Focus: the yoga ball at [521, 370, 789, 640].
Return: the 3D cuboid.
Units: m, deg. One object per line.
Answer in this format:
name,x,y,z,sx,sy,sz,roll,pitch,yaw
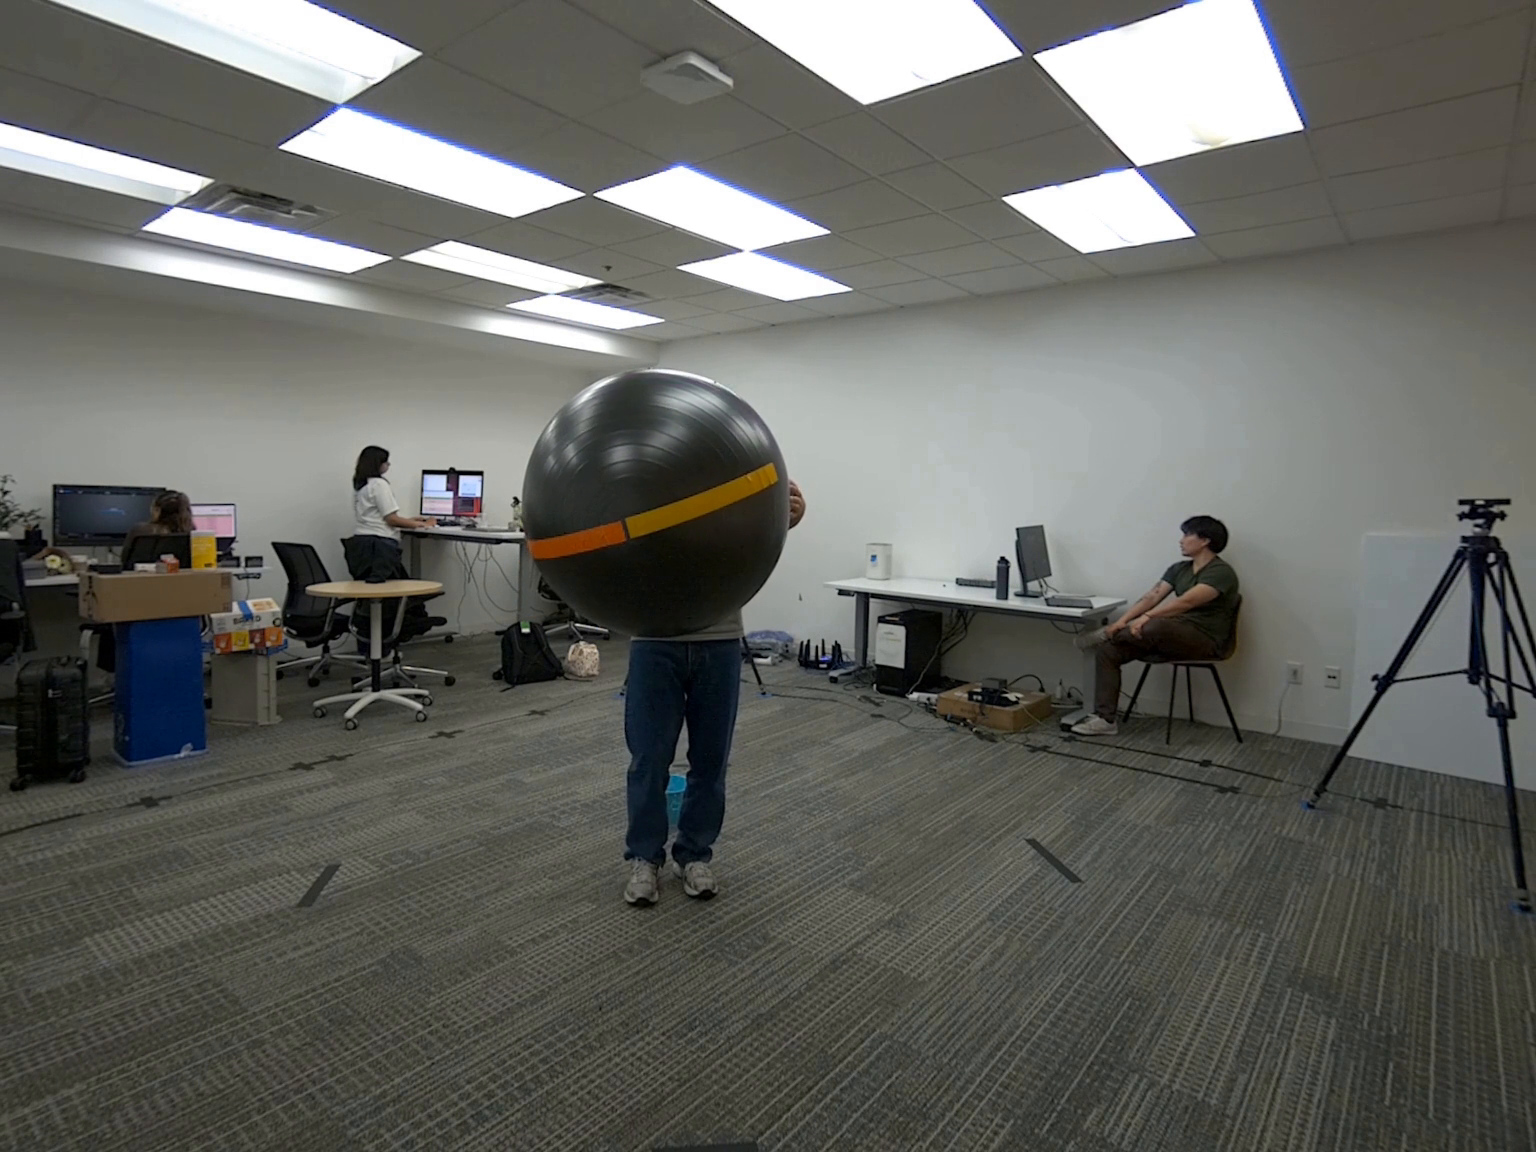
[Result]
yoga ball,-0.327,-0.200,2.406,0.757,0.756,0.761,1,4,-2
